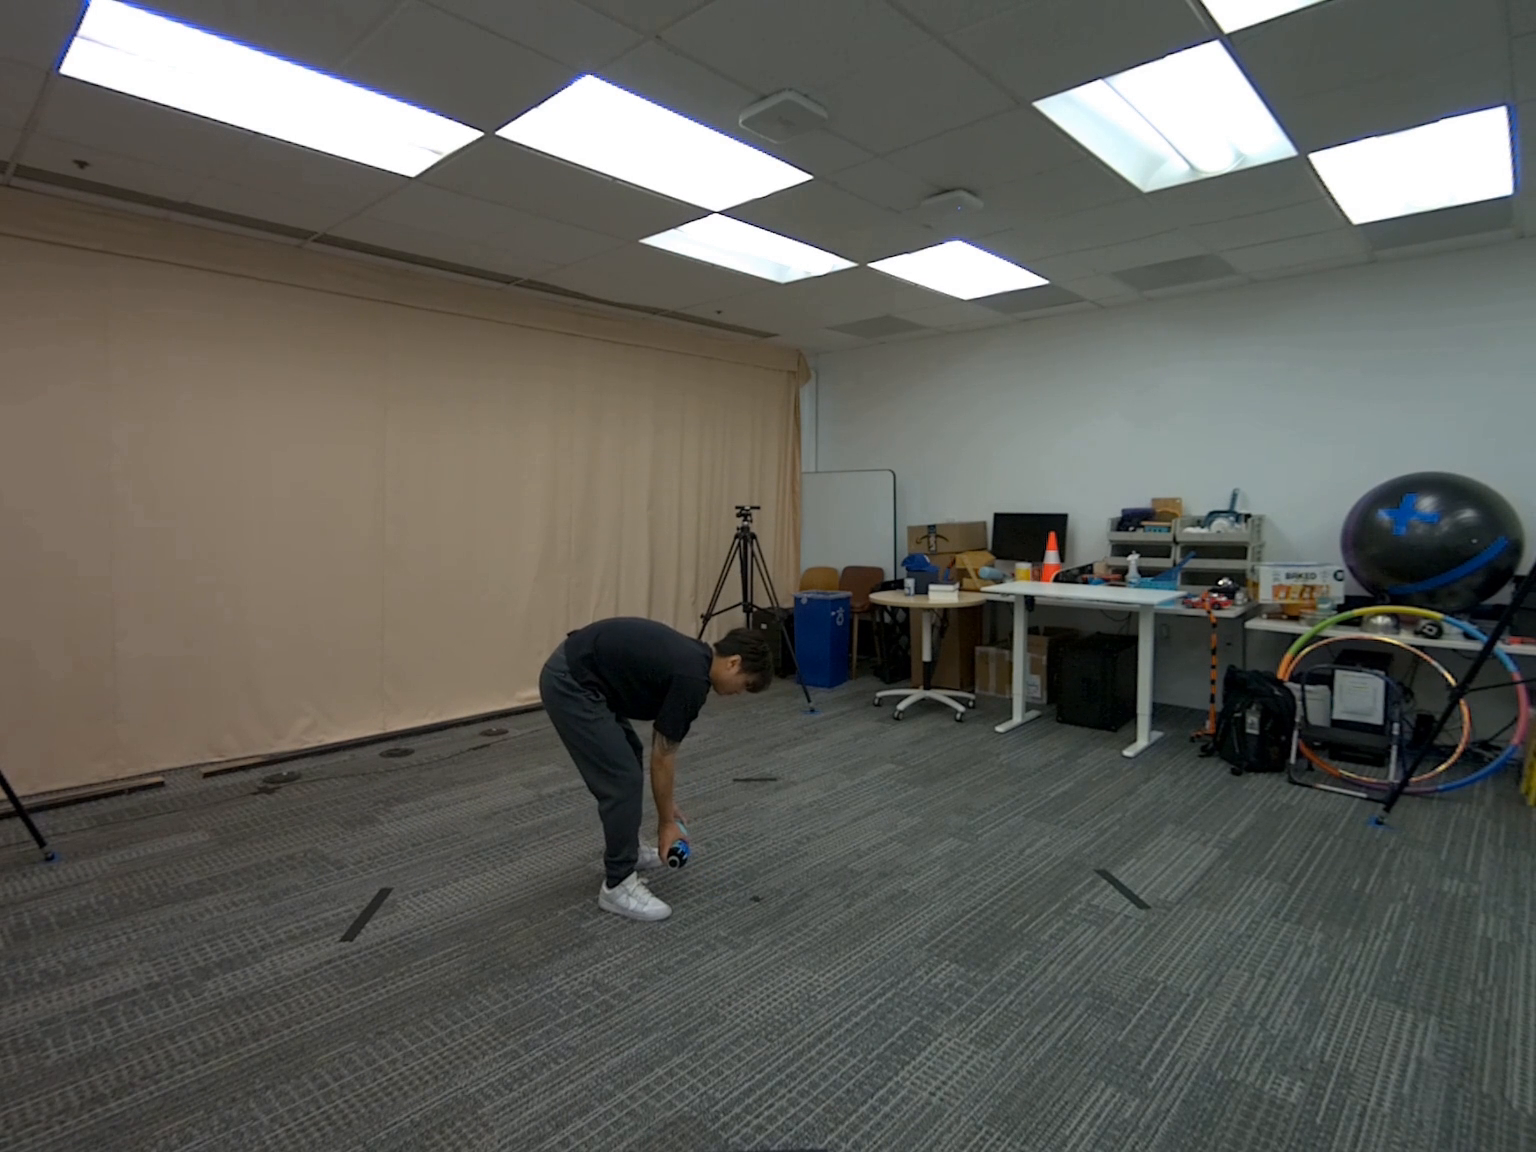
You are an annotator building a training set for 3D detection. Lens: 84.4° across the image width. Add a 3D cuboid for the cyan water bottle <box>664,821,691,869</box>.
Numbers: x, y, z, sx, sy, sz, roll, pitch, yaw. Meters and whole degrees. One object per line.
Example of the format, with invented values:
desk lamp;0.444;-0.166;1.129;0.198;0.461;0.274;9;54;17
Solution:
cyan water bottle;-0.328;0.973;3.022;0.092;0.092;0.285;0;5;-5
